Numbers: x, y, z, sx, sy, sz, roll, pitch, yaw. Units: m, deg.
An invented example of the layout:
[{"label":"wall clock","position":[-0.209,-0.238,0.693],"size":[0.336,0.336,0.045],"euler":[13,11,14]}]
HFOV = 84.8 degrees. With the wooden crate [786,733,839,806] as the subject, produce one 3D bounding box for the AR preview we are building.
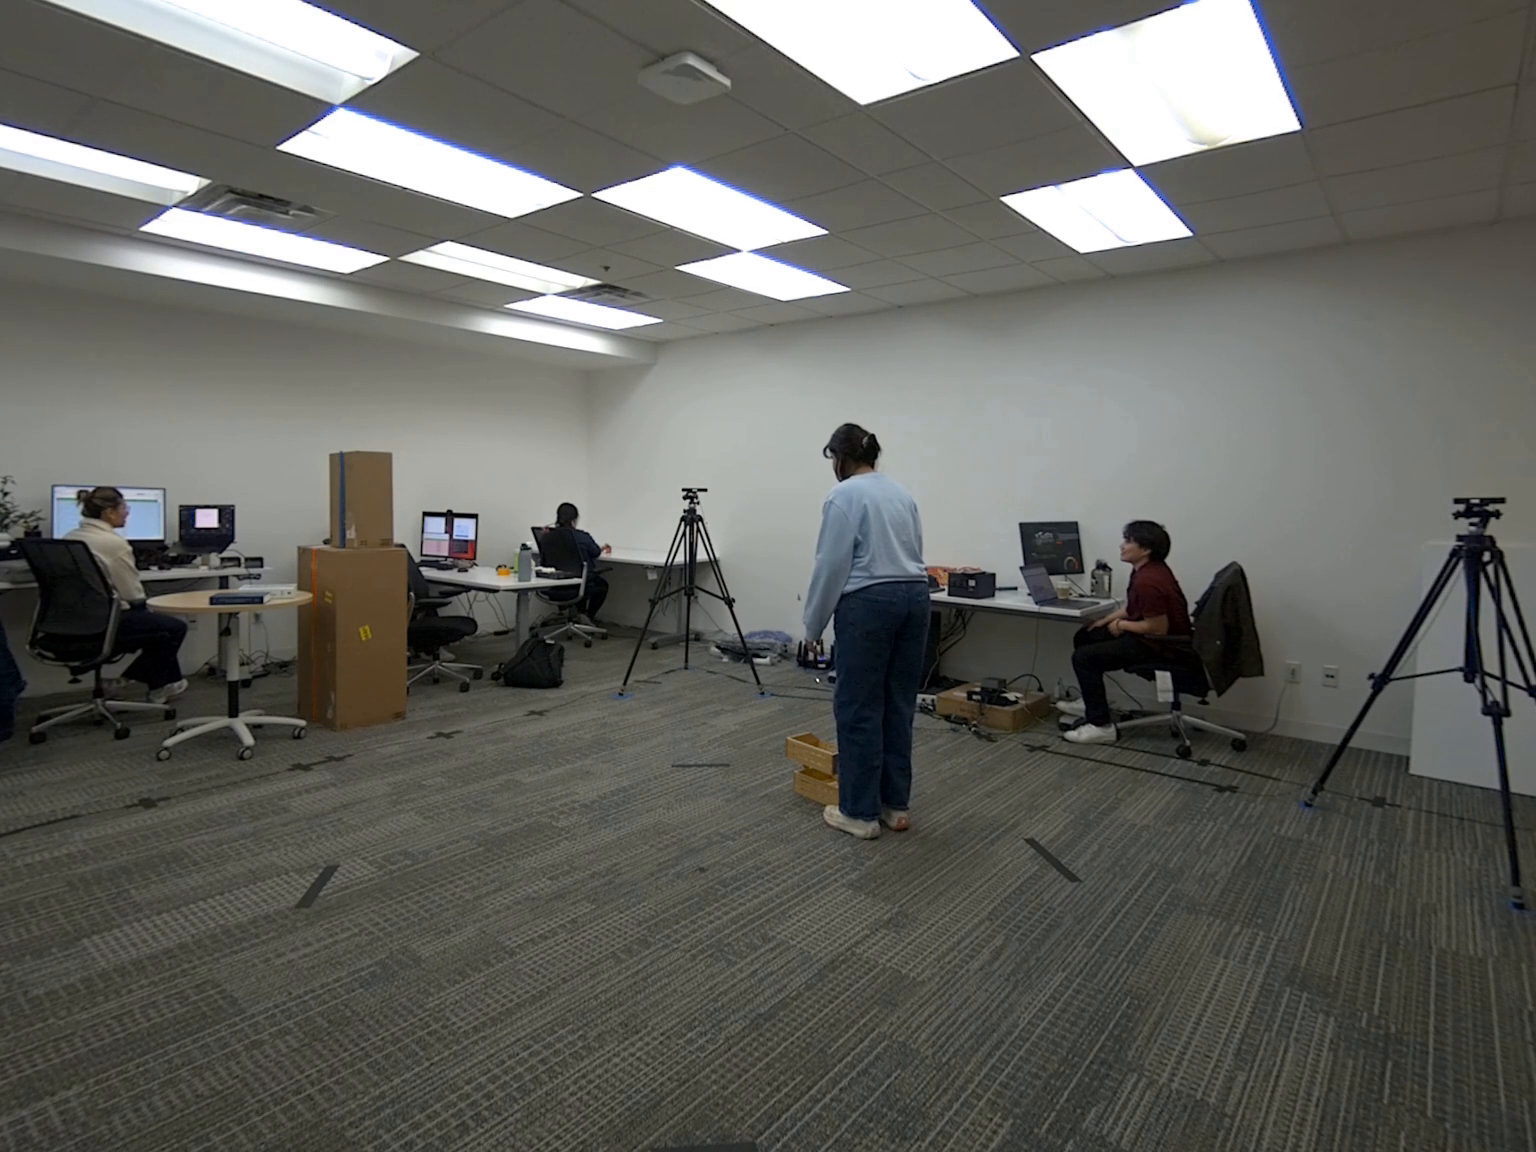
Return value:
[{"label":"wooden crate","position":[0.287,0.872,3.887],"size":[0.293,0.272,0.335],"euler":[-3,6,-39]}]
